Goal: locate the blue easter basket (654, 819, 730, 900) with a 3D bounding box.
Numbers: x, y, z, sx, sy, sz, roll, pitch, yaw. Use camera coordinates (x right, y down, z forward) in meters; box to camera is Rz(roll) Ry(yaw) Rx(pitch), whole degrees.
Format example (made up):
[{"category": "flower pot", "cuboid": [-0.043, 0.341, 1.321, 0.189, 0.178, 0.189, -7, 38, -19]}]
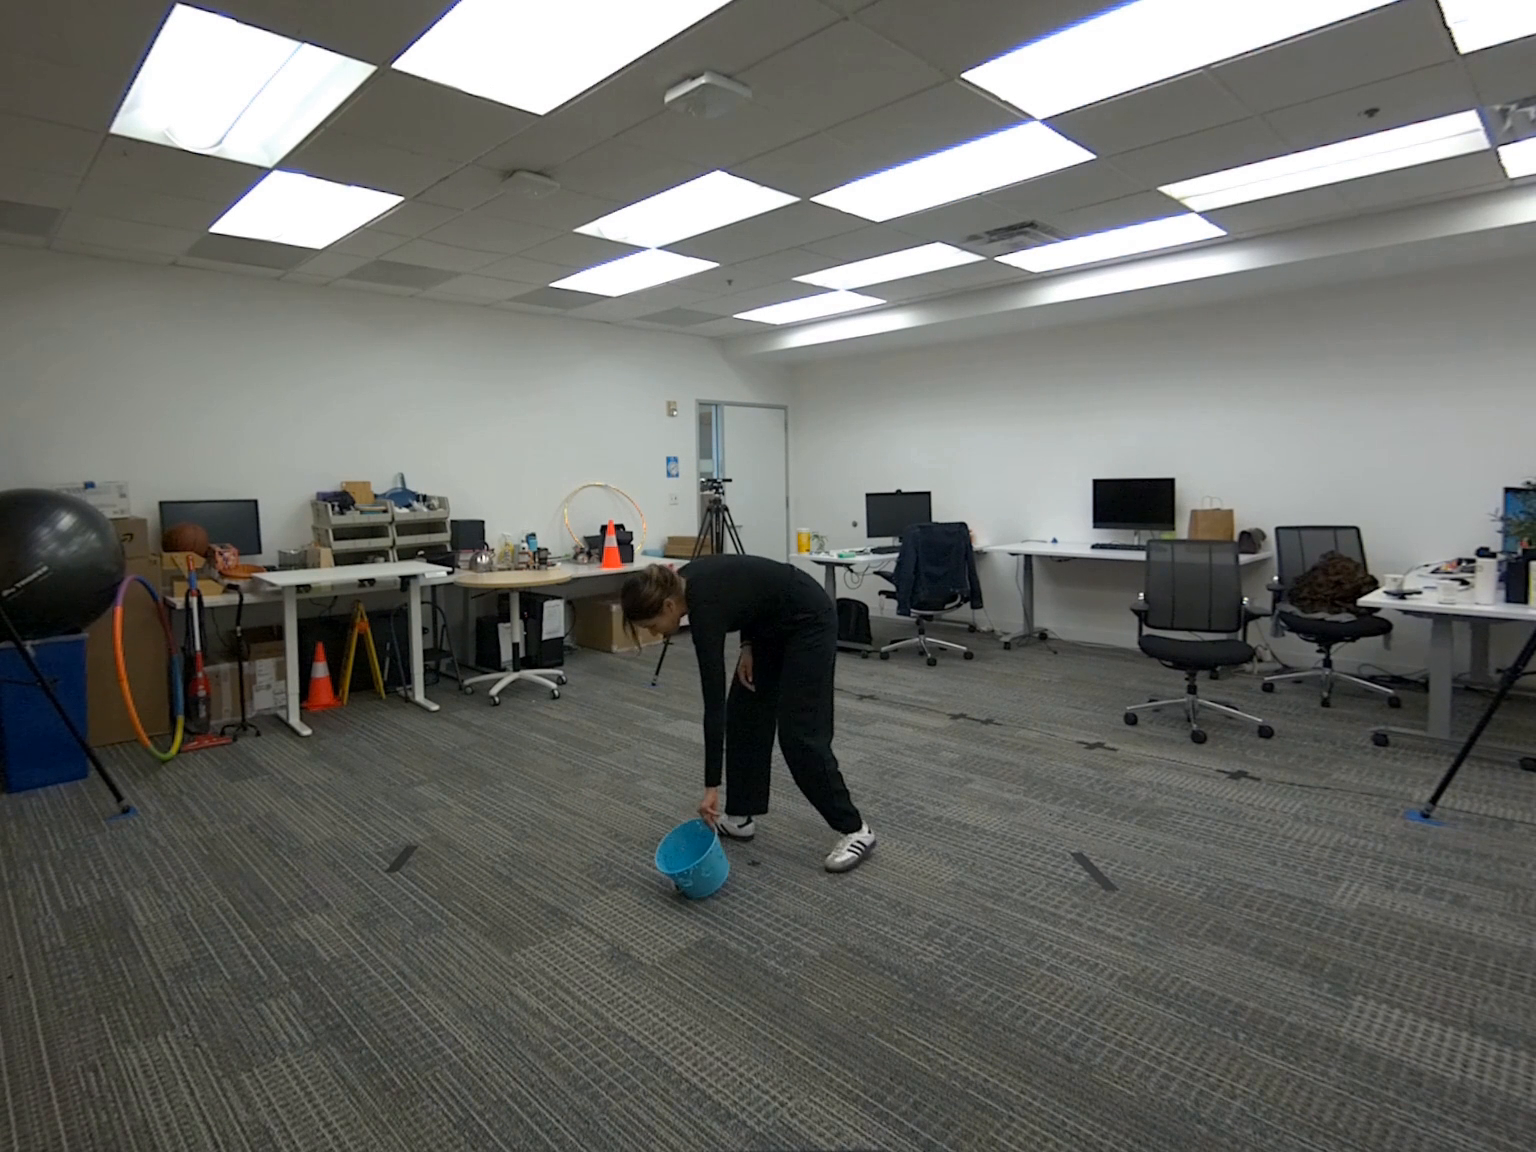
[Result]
[{"category": "blue easter basket", "cuboid": [-0.245, 0.964, 2.878, 0.244, 0.152, 0.248, -25, 21, 8]}]
